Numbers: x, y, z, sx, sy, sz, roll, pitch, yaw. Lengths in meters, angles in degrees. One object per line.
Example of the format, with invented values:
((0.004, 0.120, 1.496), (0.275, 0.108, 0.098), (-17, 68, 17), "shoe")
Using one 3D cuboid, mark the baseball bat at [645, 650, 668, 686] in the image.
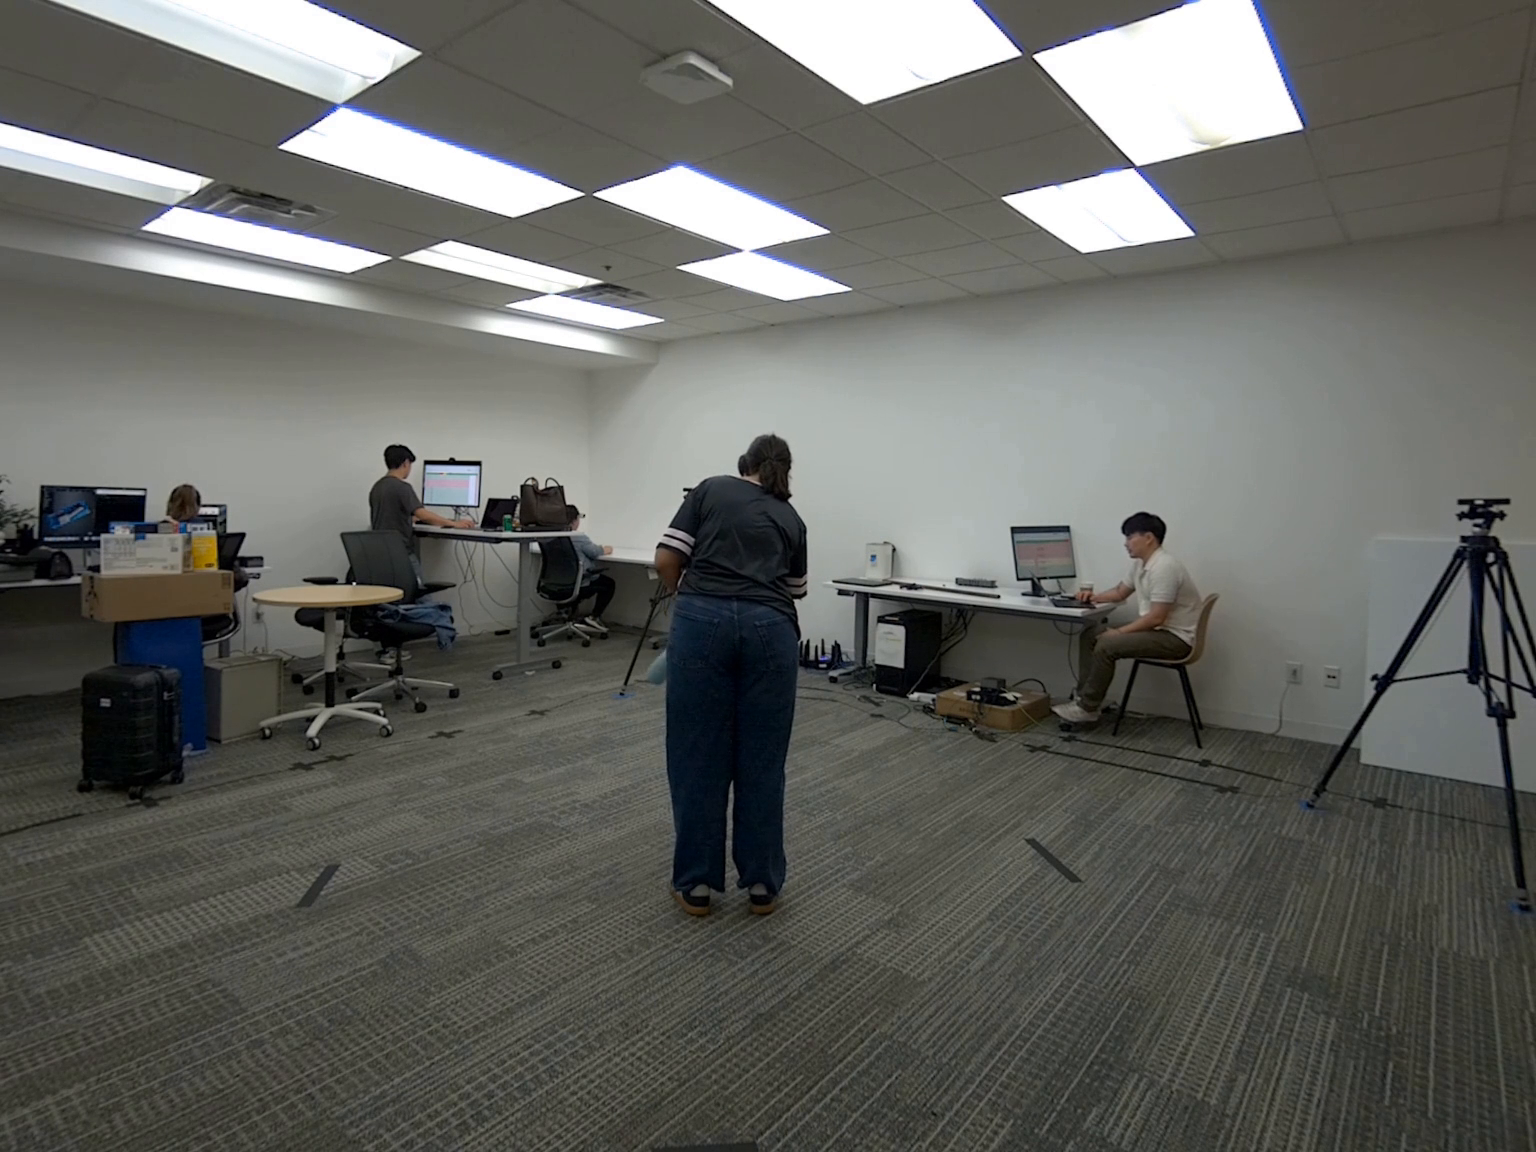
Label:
((-0.333, 0.278, 3.258), (0.086, 0.091, 0.544), (-1, -25, -32), "baseball bat")
